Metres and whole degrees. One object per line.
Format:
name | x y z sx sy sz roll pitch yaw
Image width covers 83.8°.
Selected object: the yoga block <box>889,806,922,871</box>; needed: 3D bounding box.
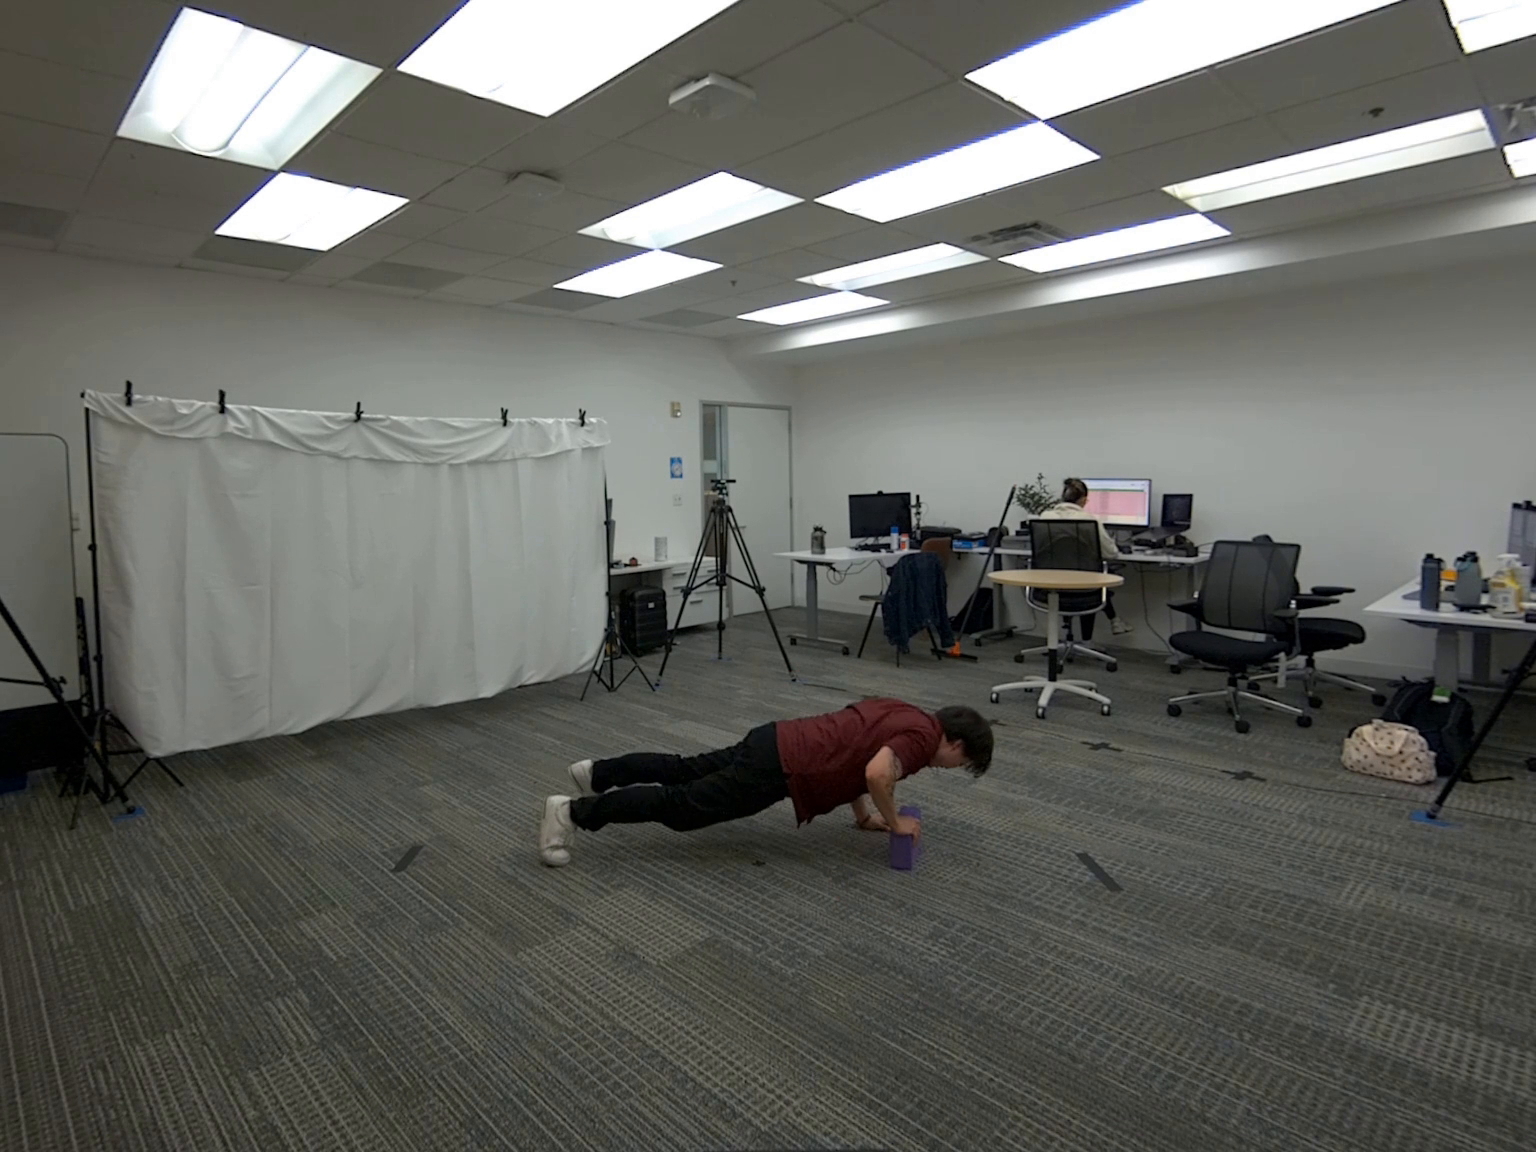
yoga block | 0.496 0.952 3.139 0.078 0.149 0.225 3 2 21
